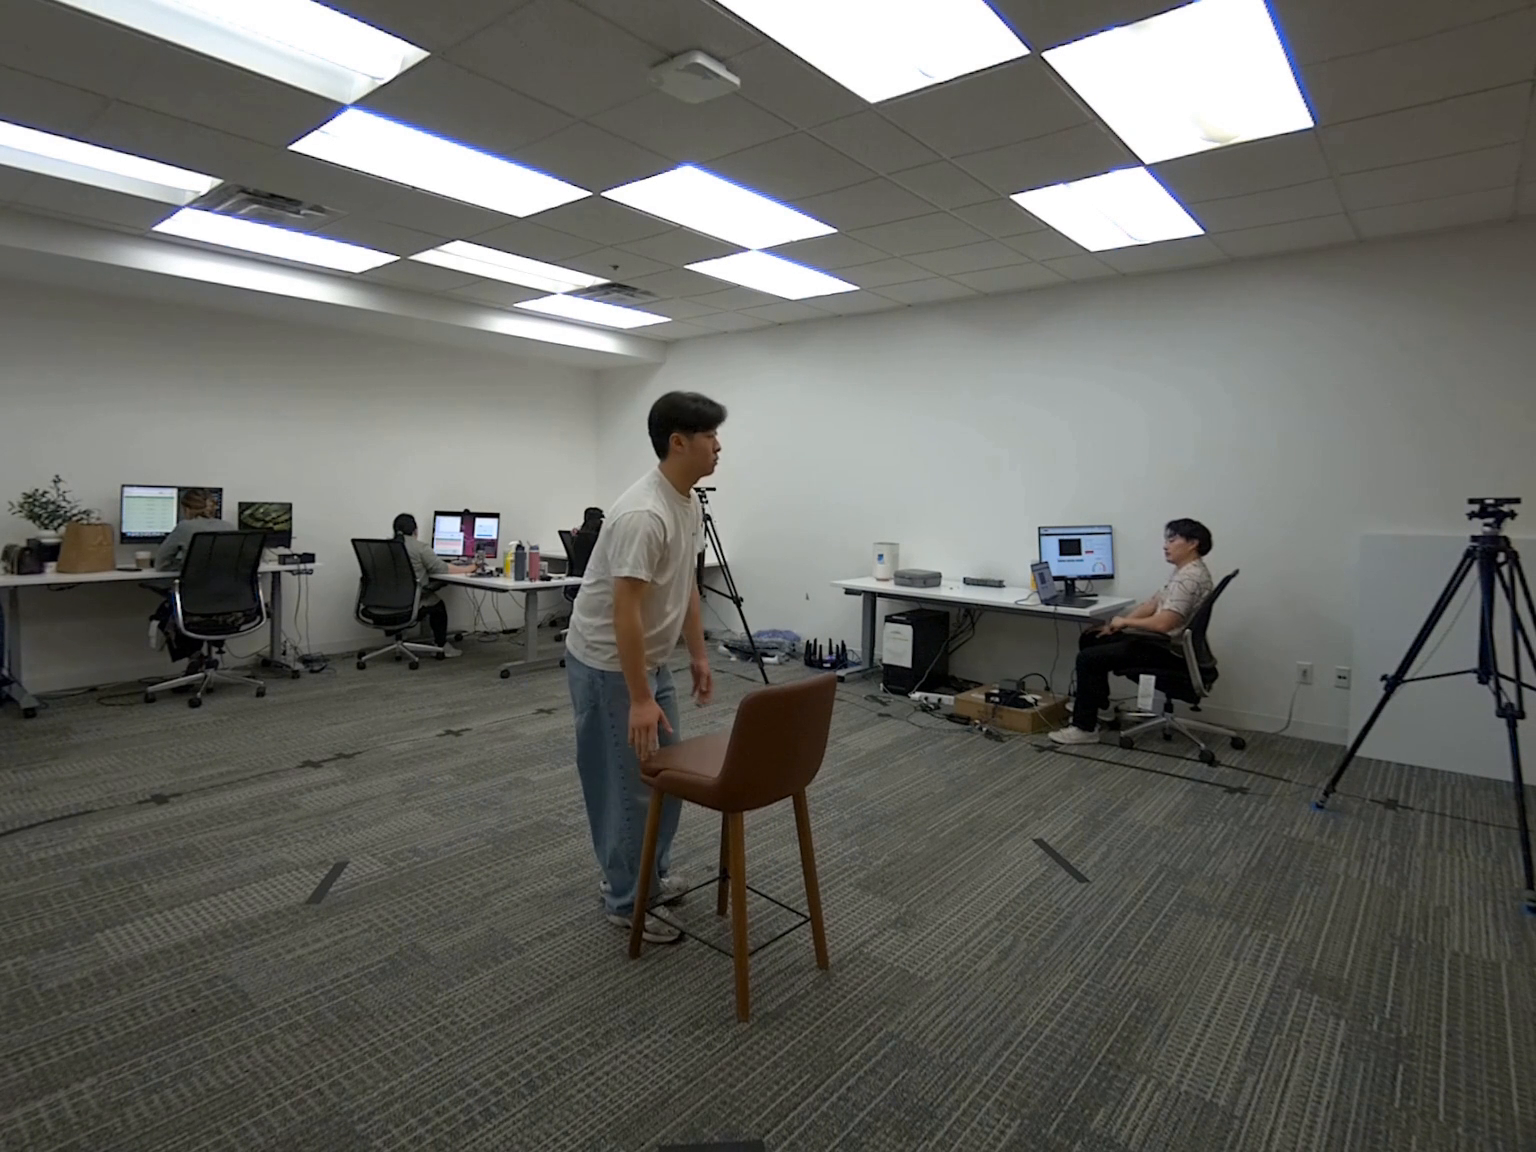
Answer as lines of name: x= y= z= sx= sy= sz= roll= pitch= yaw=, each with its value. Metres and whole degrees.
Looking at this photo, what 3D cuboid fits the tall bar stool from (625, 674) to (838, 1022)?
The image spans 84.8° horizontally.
tall bar stool: x=-0.103 y=0.690 z=2.472 sx=0.484 sy=0.886 sz=0.442 roll=7 pitch=6 yaw=42
